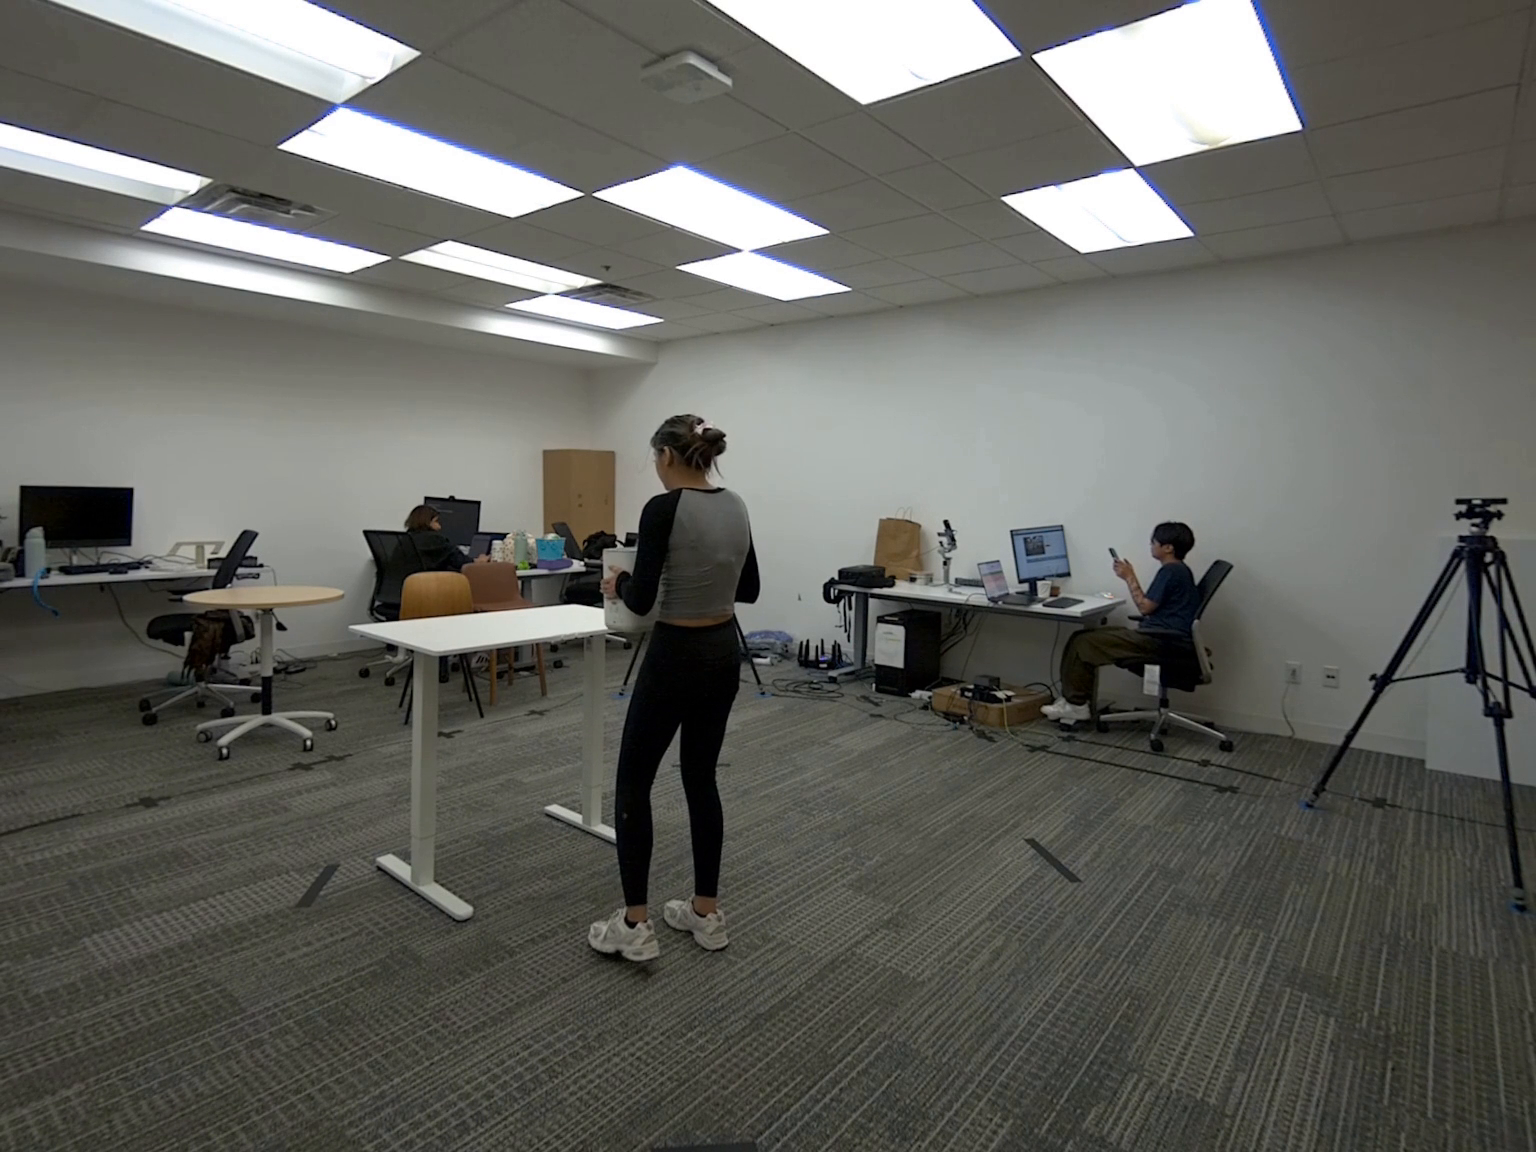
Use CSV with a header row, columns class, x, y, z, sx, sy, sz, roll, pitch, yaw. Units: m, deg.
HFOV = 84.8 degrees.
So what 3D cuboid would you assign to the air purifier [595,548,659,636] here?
class,x,y,z,sx,sy,sz,roll,pitch,yaw
air purifier,-0.450,0.045,2.782,0.176,0.265,0.166,2,3,41
